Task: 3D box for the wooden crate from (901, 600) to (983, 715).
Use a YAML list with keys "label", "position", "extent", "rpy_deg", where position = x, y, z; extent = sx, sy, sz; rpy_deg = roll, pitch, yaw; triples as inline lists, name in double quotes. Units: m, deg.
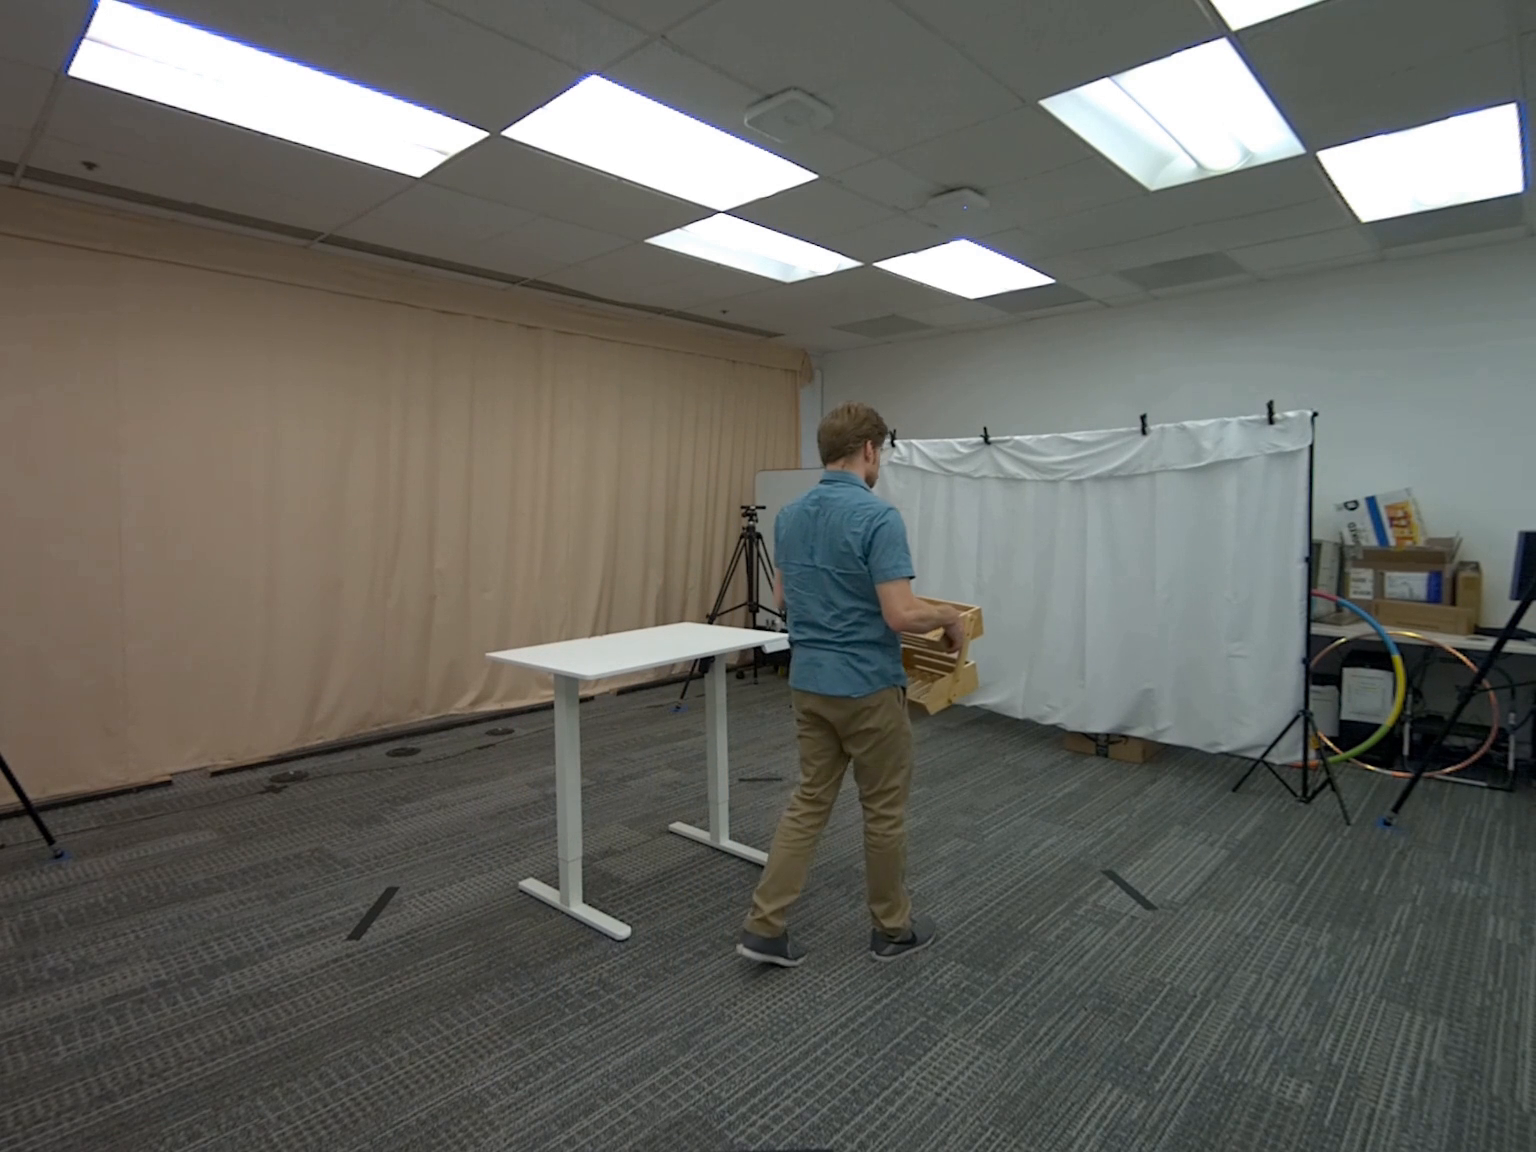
- label: "wooden crate"
  position: [0.481, 0.239, 2.724]
  extent: [0.295, 0.270, 0.335]
  rpy_deg: [-19, 17, -34]
